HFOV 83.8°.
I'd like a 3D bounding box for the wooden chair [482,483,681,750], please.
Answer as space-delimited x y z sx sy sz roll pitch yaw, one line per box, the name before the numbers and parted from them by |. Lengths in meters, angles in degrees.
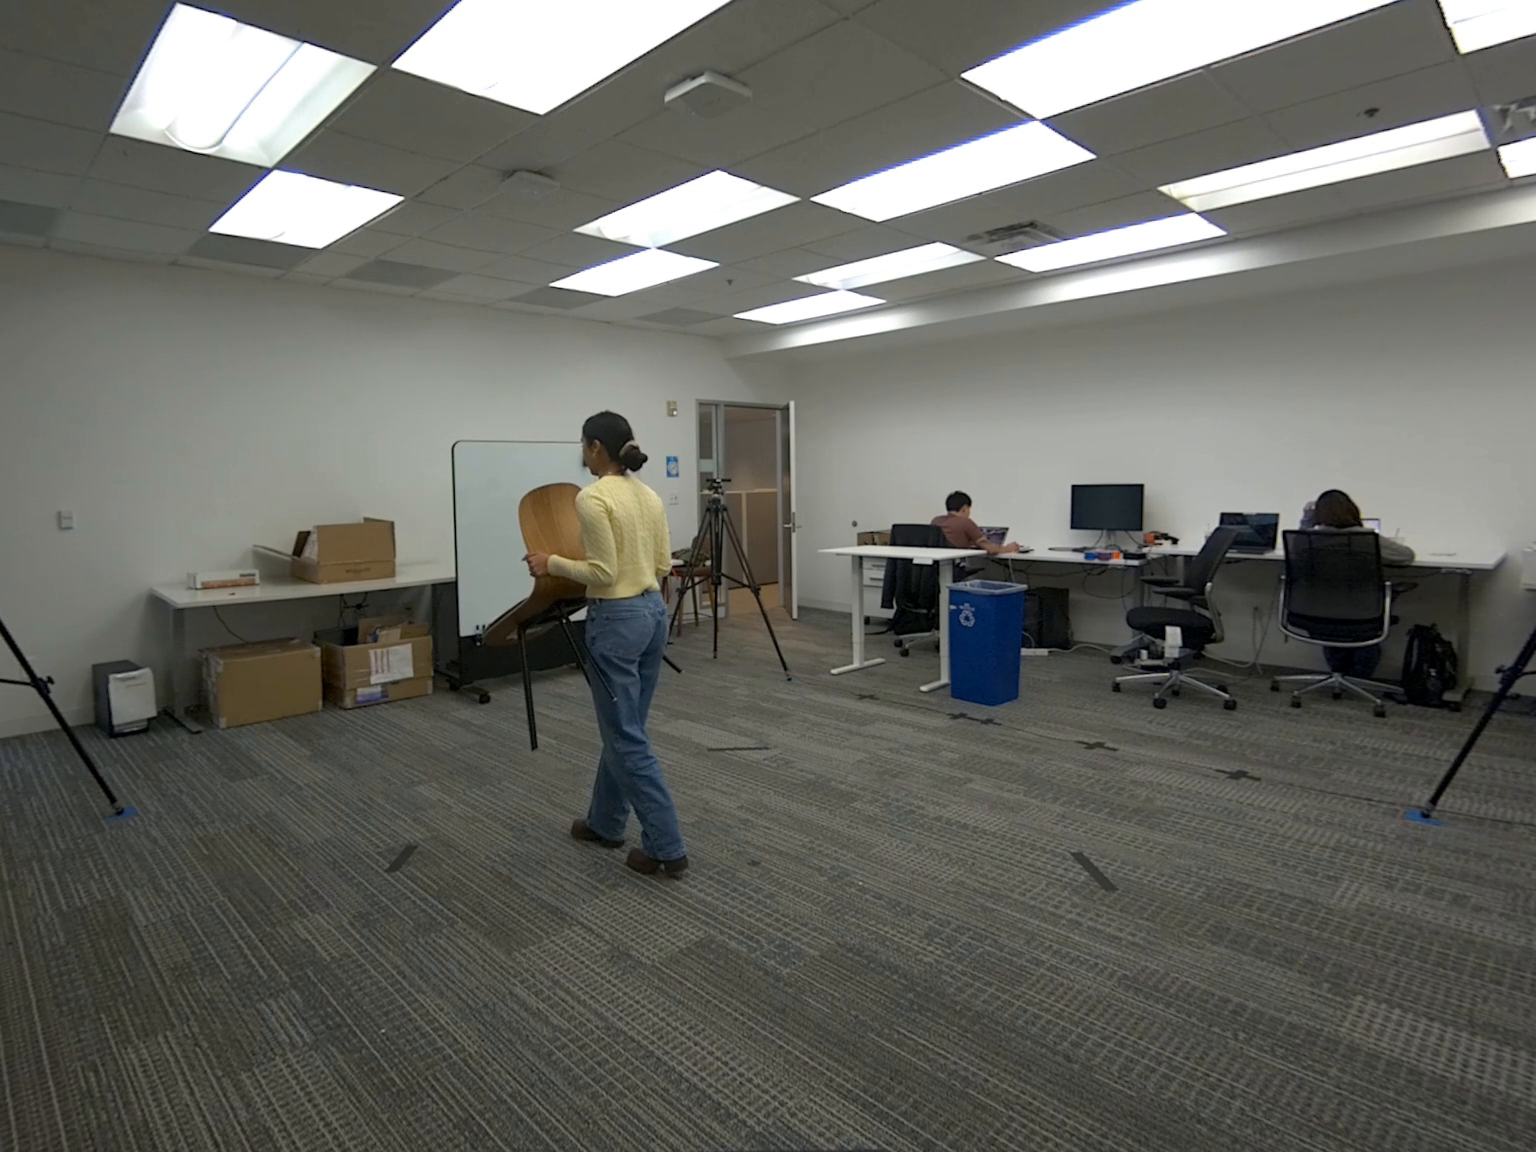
wooden chair | -0.805 0.148 3.320 0.528 0.887 0.469 -30 -9 28
